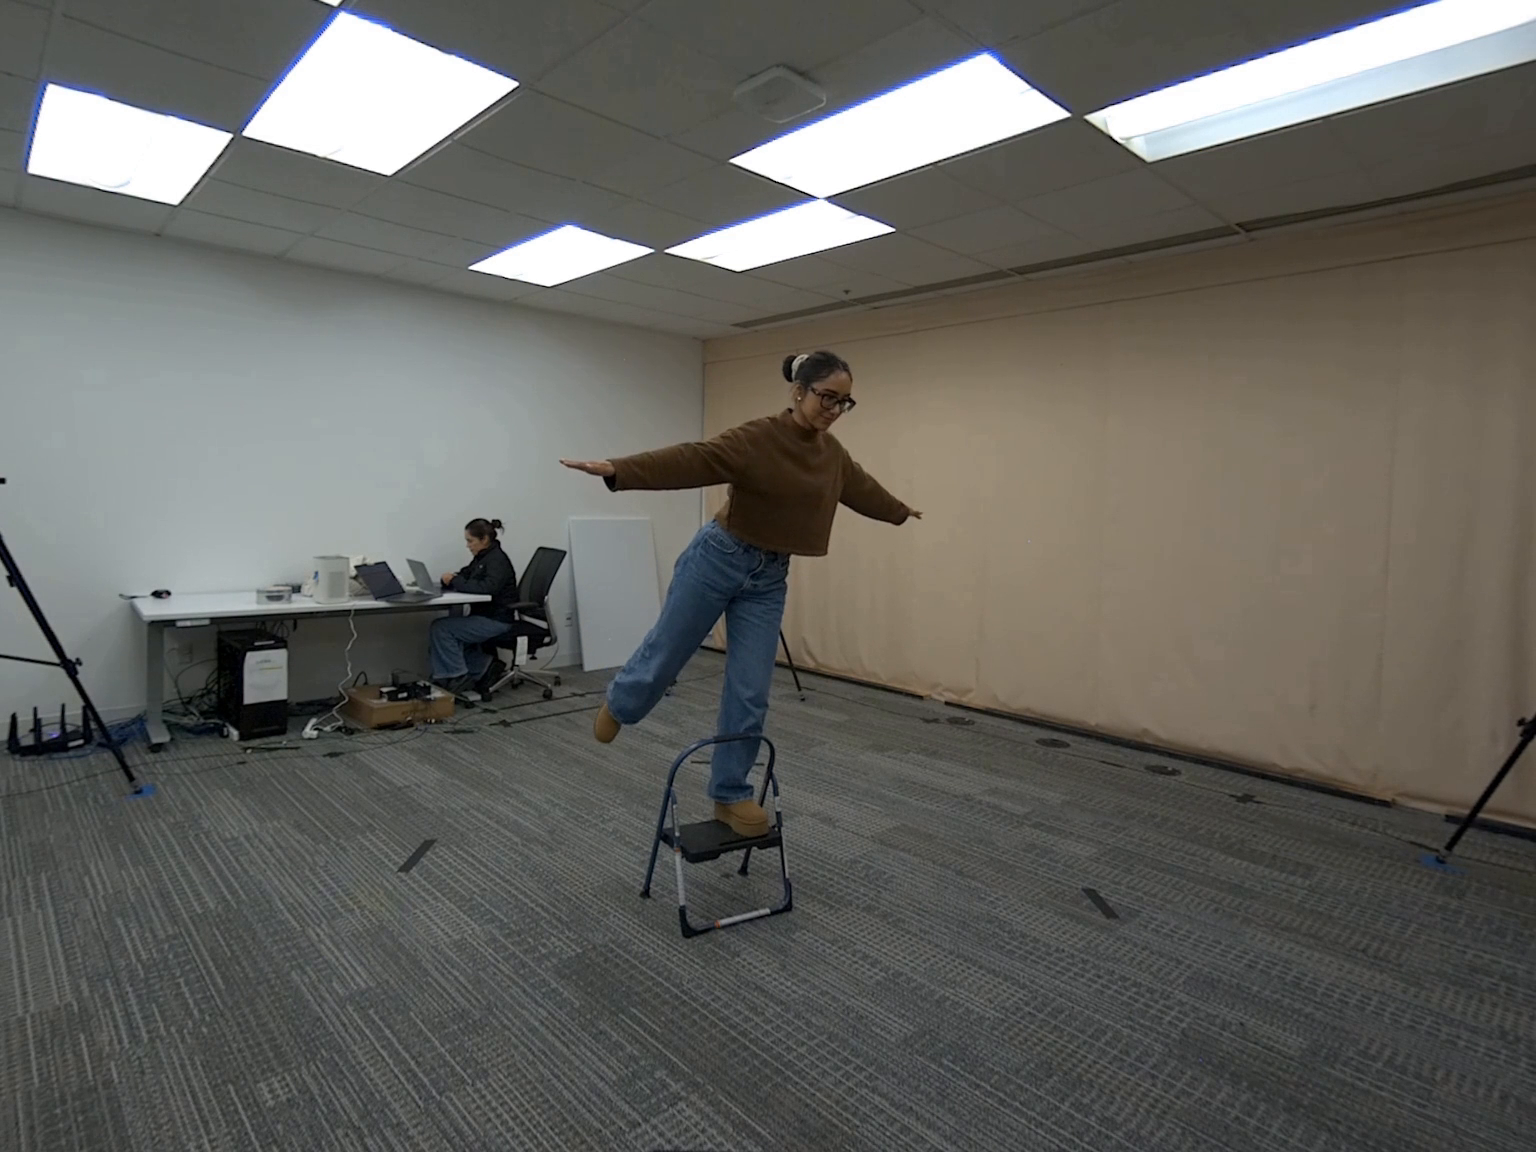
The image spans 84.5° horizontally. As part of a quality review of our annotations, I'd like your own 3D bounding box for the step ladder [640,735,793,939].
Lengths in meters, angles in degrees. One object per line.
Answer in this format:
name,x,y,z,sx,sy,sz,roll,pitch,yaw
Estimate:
step ladder,-0.177,0.825,2.879,0.421,0.604,0.357,0,4,-32
